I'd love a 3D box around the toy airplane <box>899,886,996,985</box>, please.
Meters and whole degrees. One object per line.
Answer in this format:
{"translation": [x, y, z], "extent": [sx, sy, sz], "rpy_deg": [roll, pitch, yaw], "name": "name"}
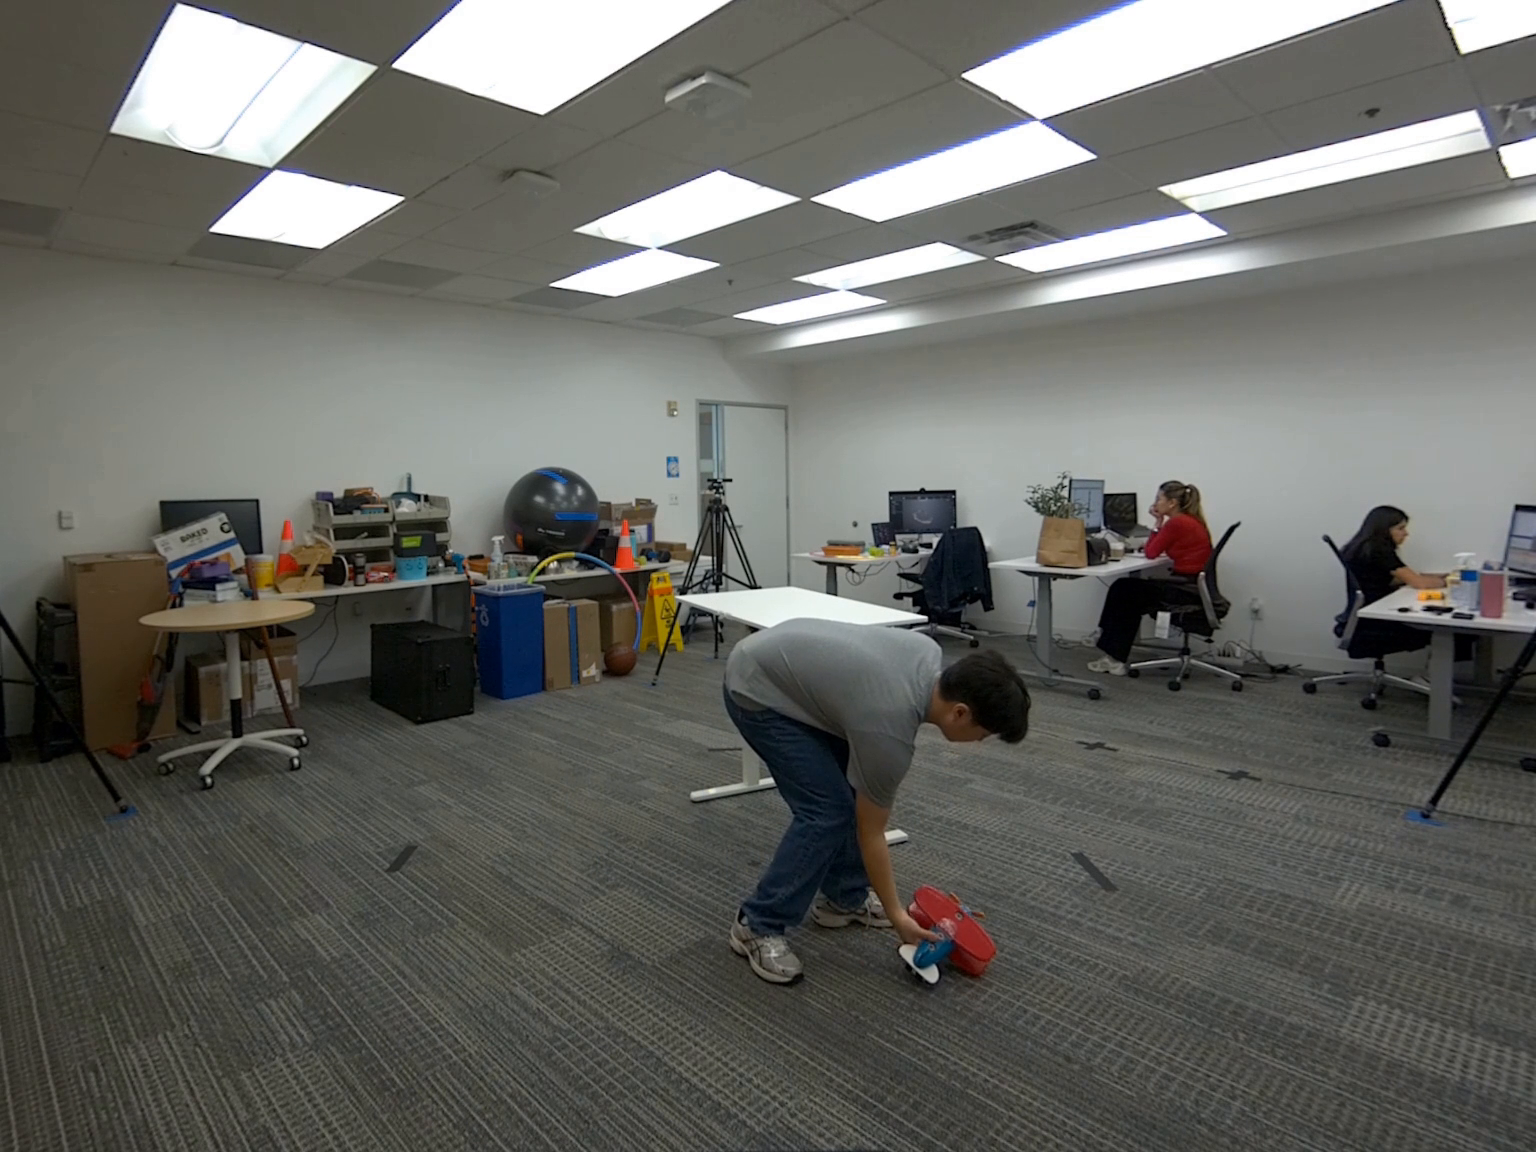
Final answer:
{"translation": [0.500, 1.044, 2.414], "extent": [0.253, 0.154, 0.260], "rpy_deg": [22, 24, 5], "name": "toy airplane"}
